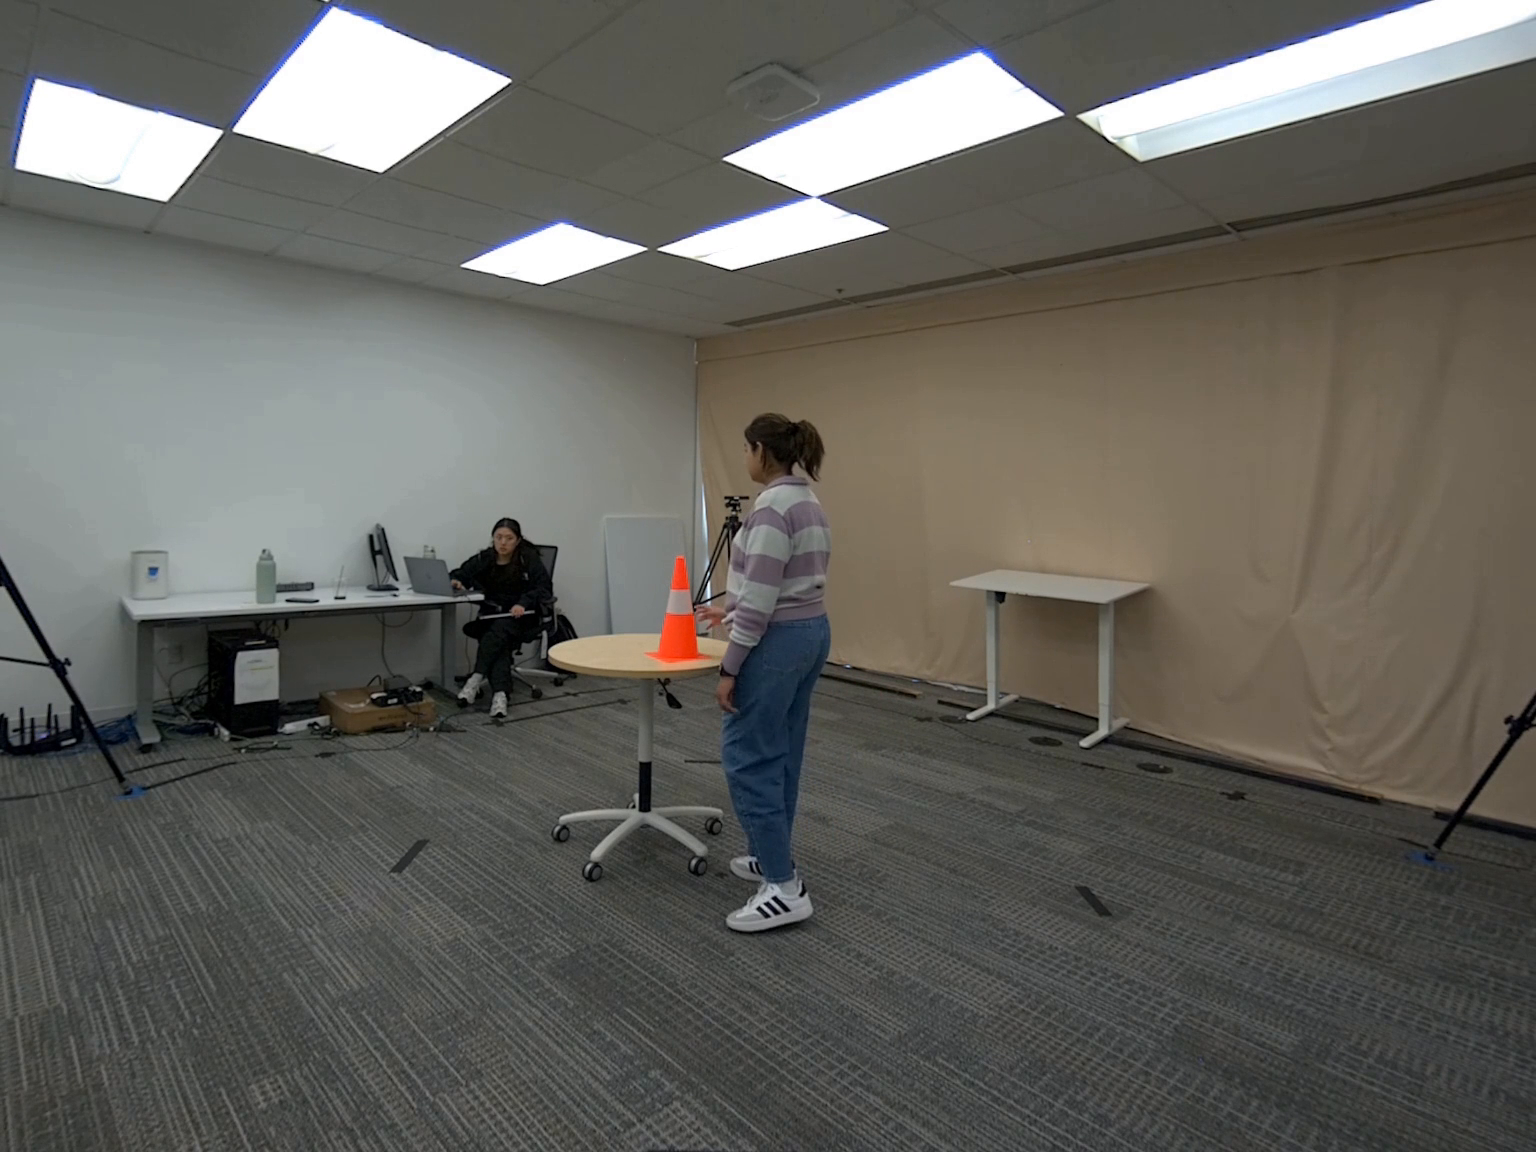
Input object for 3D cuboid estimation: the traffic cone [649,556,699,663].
[{"bbox_3d":[-0.350,0.122,3.211,0.210,0.383,0.199,4,3,38],"label":"traffic cone"}]
